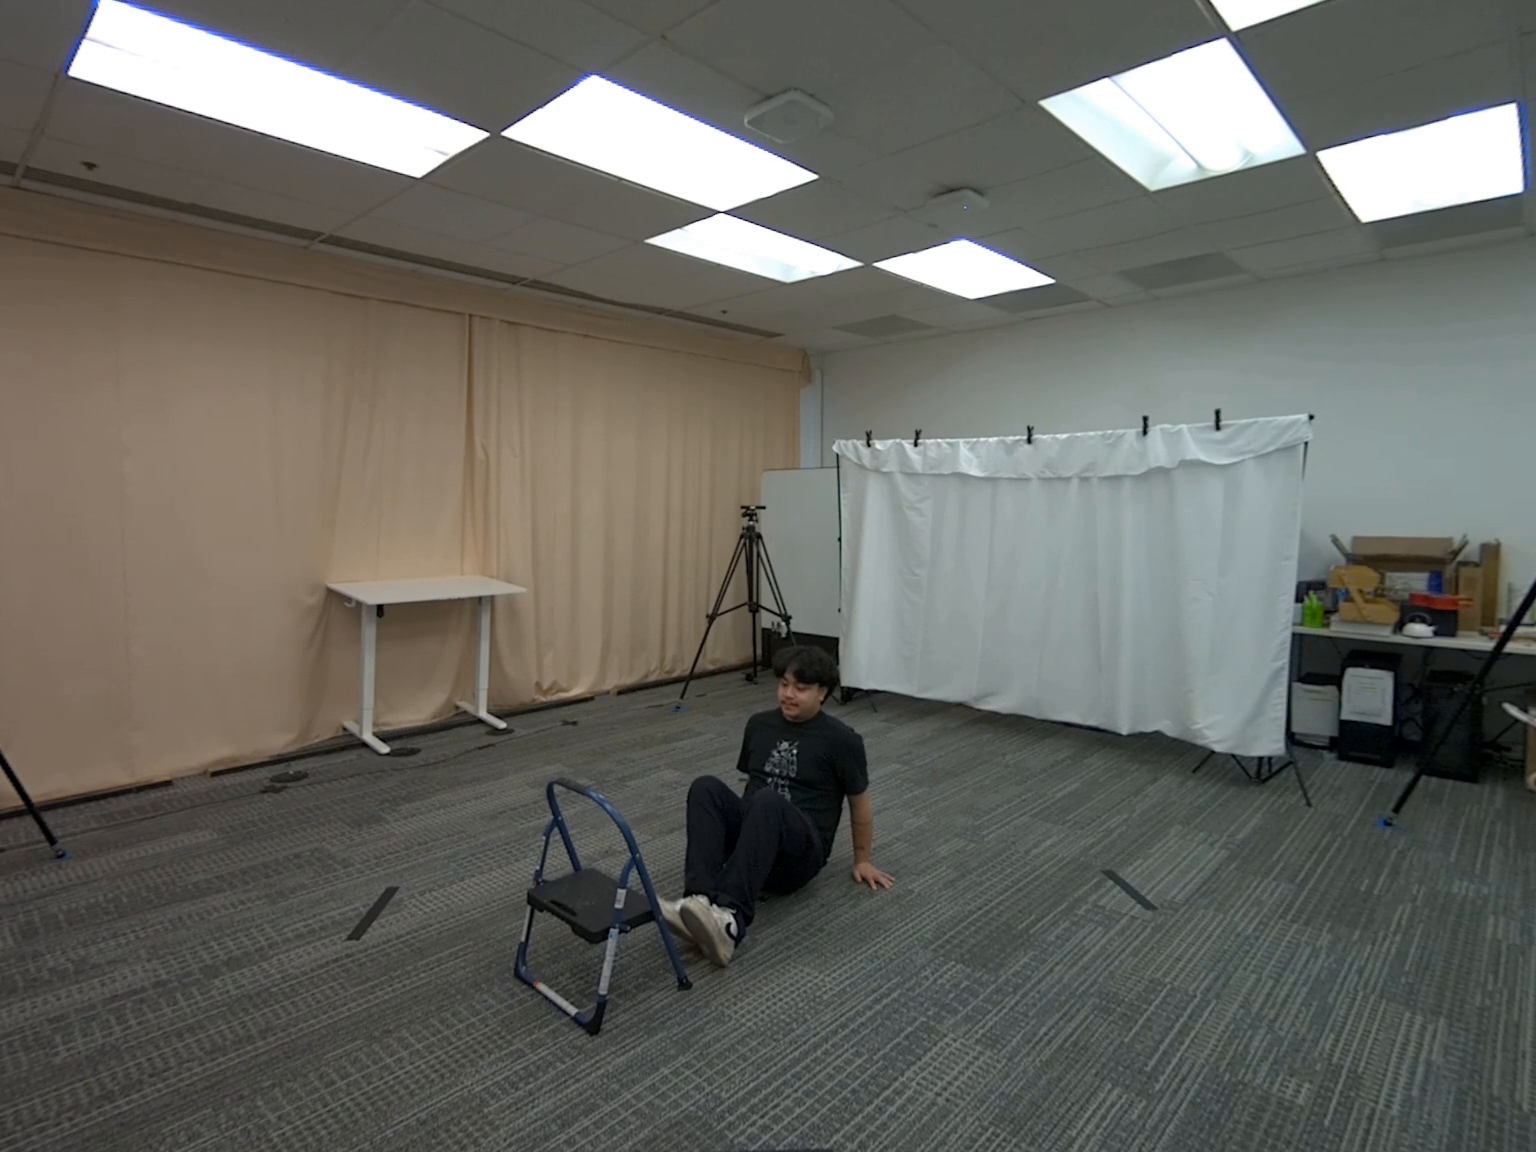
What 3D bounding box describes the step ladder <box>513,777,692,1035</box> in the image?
[{"bbox_3d":[-0.492,0.889,2.456,0.445,0.605,0.338,2,4,44],"label":"step ladder"}]
